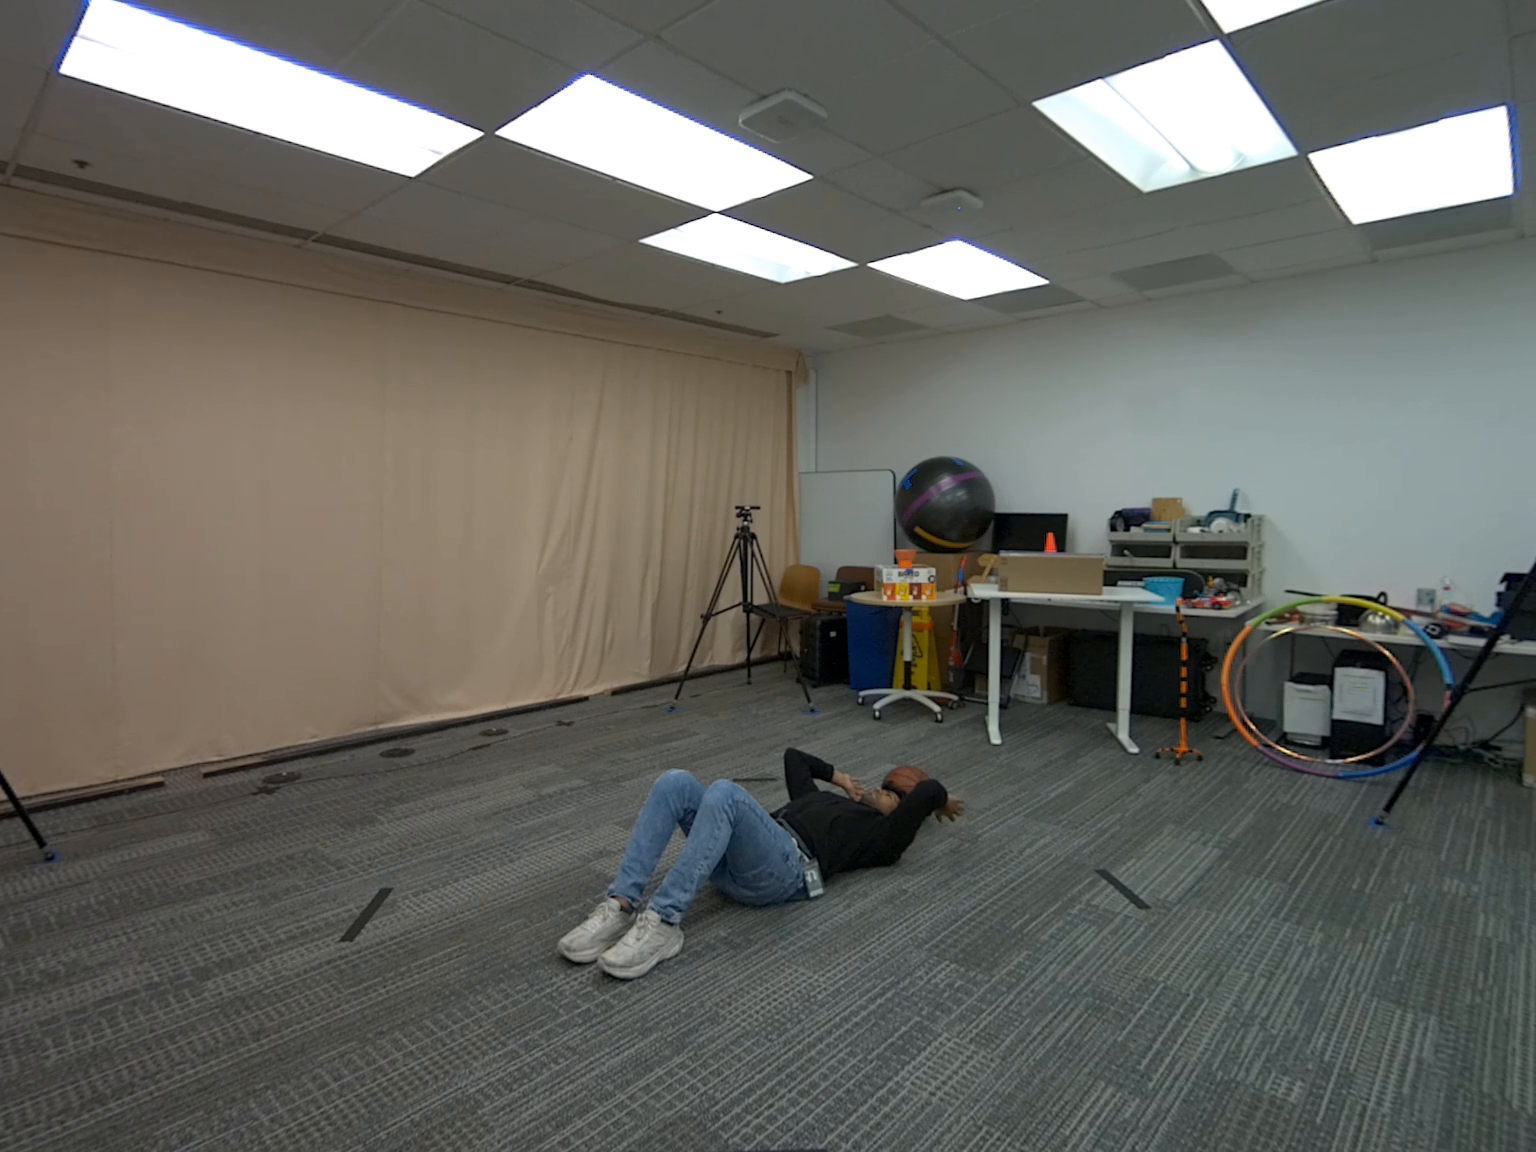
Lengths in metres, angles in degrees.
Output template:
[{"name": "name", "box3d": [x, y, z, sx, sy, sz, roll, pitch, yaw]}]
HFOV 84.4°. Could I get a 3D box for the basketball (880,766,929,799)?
[{"name": "basketball", "box3d": [0.617, 0.960, 3.729, 0.236, 0.235, 0.237, 0, 4, -2]}]
